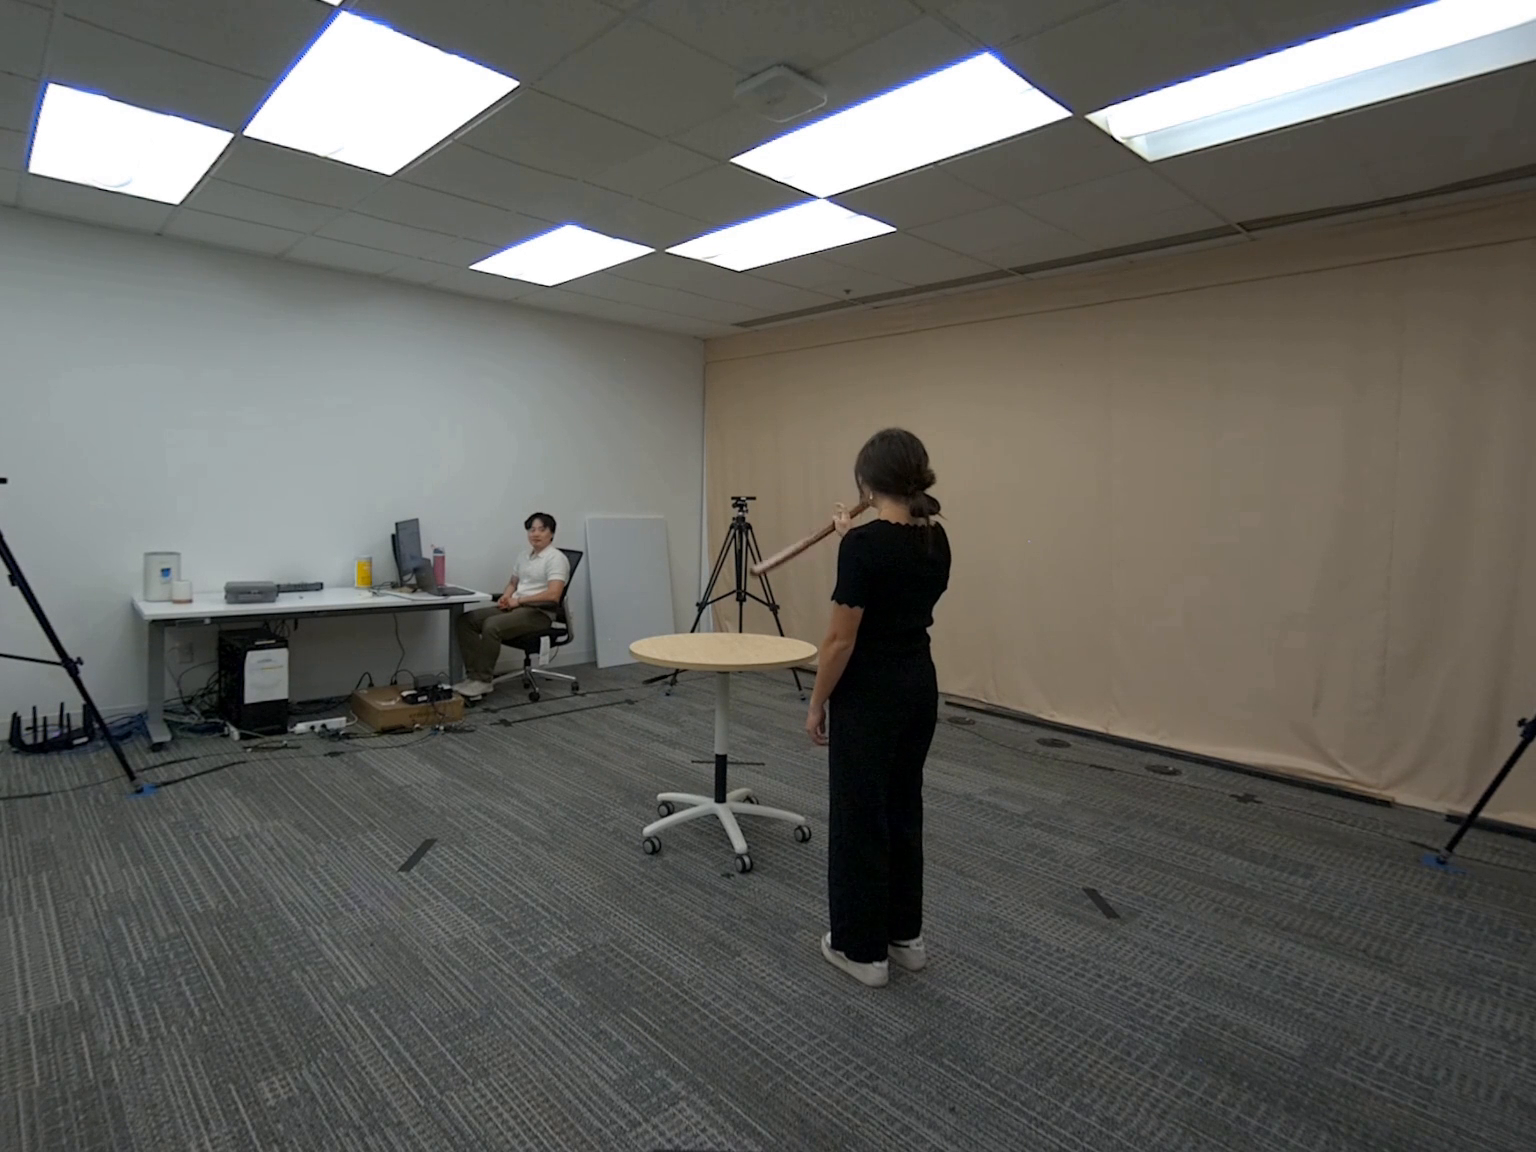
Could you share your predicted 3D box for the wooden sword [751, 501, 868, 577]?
[{"bbox_3d":[0.243,-0.187,2.883,0.024,0.051,1.017,-11,17,42],"label":"wooden sword"}]
